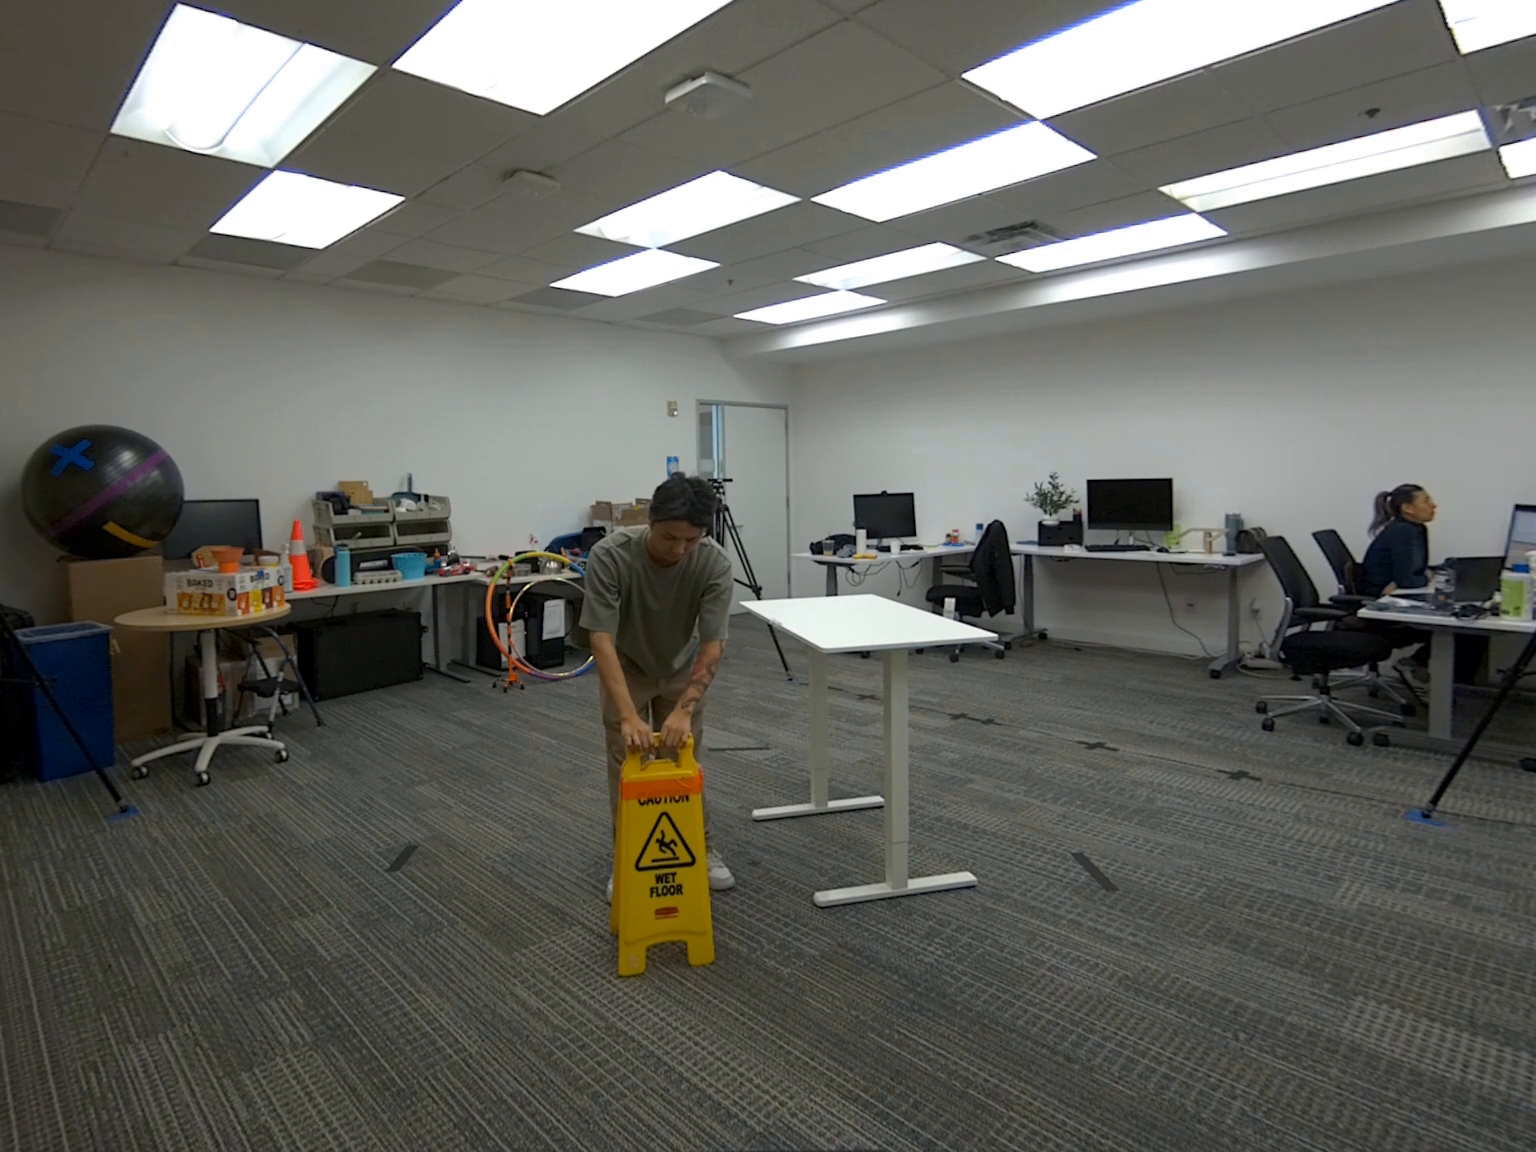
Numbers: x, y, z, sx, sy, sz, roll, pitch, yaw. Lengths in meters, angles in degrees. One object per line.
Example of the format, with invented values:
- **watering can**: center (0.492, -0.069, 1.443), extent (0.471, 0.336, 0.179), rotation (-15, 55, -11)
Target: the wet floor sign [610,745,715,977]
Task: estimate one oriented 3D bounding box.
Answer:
- **wet floor sign**: center (-0.324, 0.789, 2.533), extent (0.279, 0.642, 0.295), rotation (-2, 7, -14)
